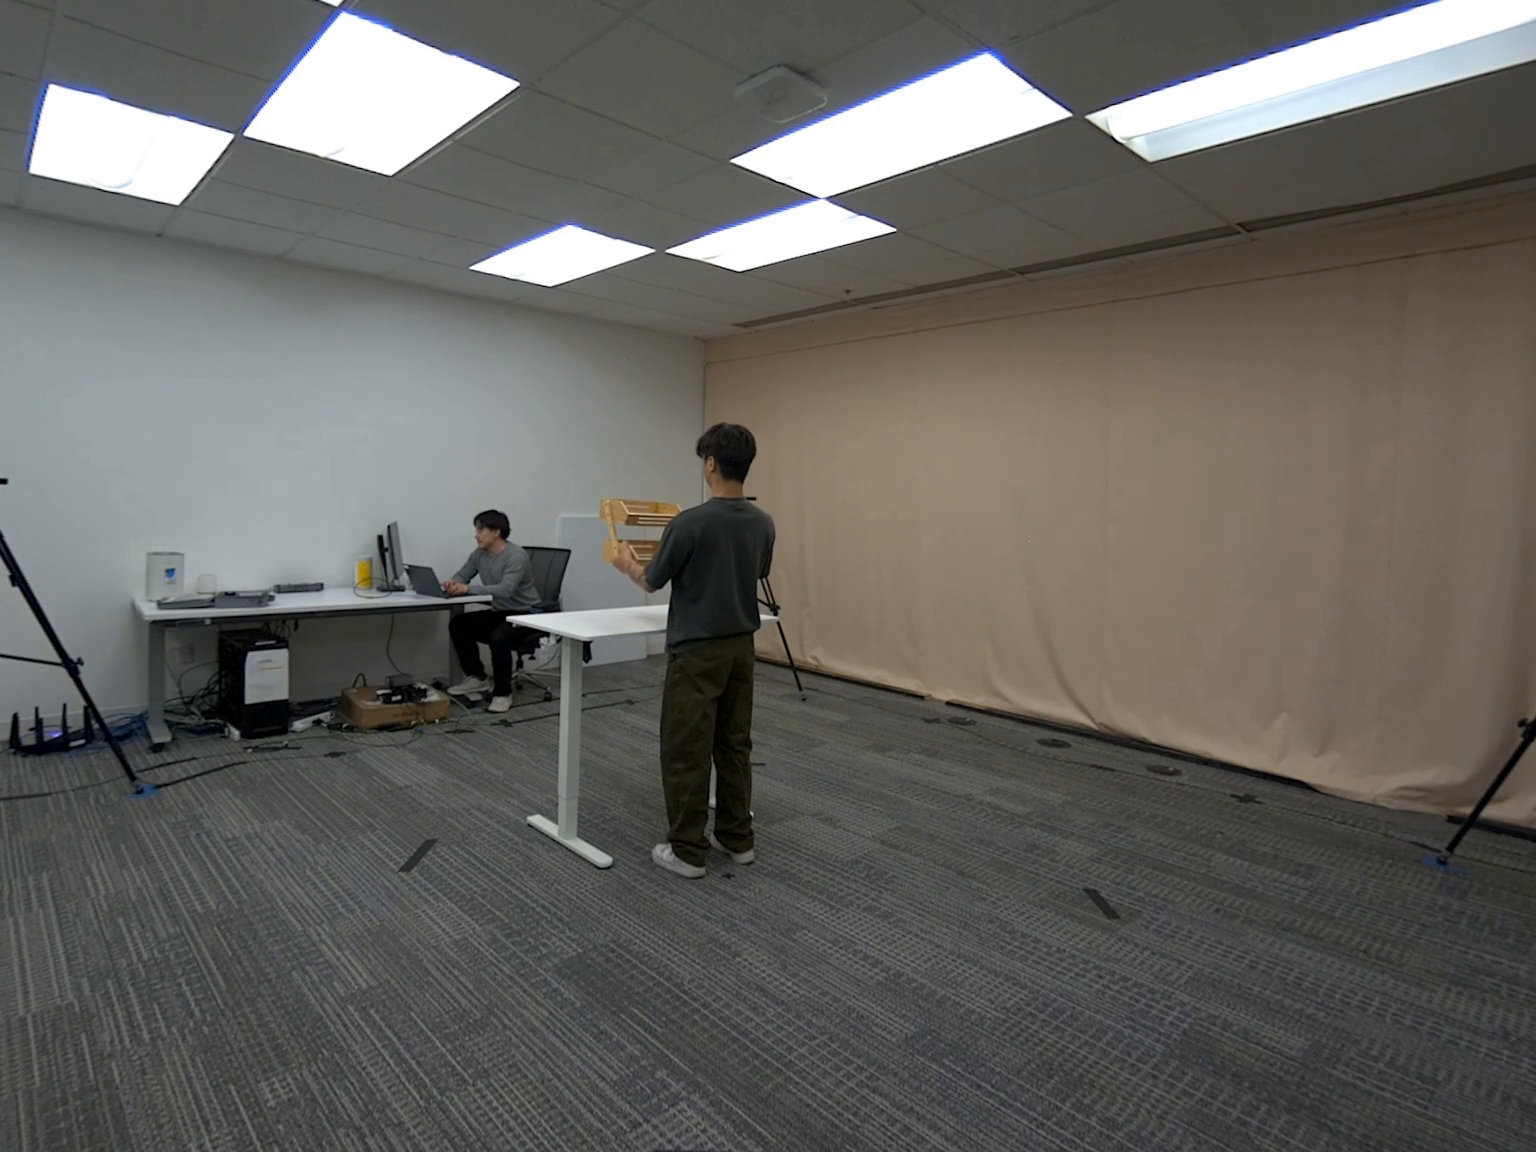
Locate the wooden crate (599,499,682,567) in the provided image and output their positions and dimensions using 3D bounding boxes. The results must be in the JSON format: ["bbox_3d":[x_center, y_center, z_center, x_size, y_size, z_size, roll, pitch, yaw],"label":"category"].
[{"bbox_3d":[-0.507,-0.181,3.531,0.317,0.272,0.310,0,8,-43],"label":"wooden crate"}]
